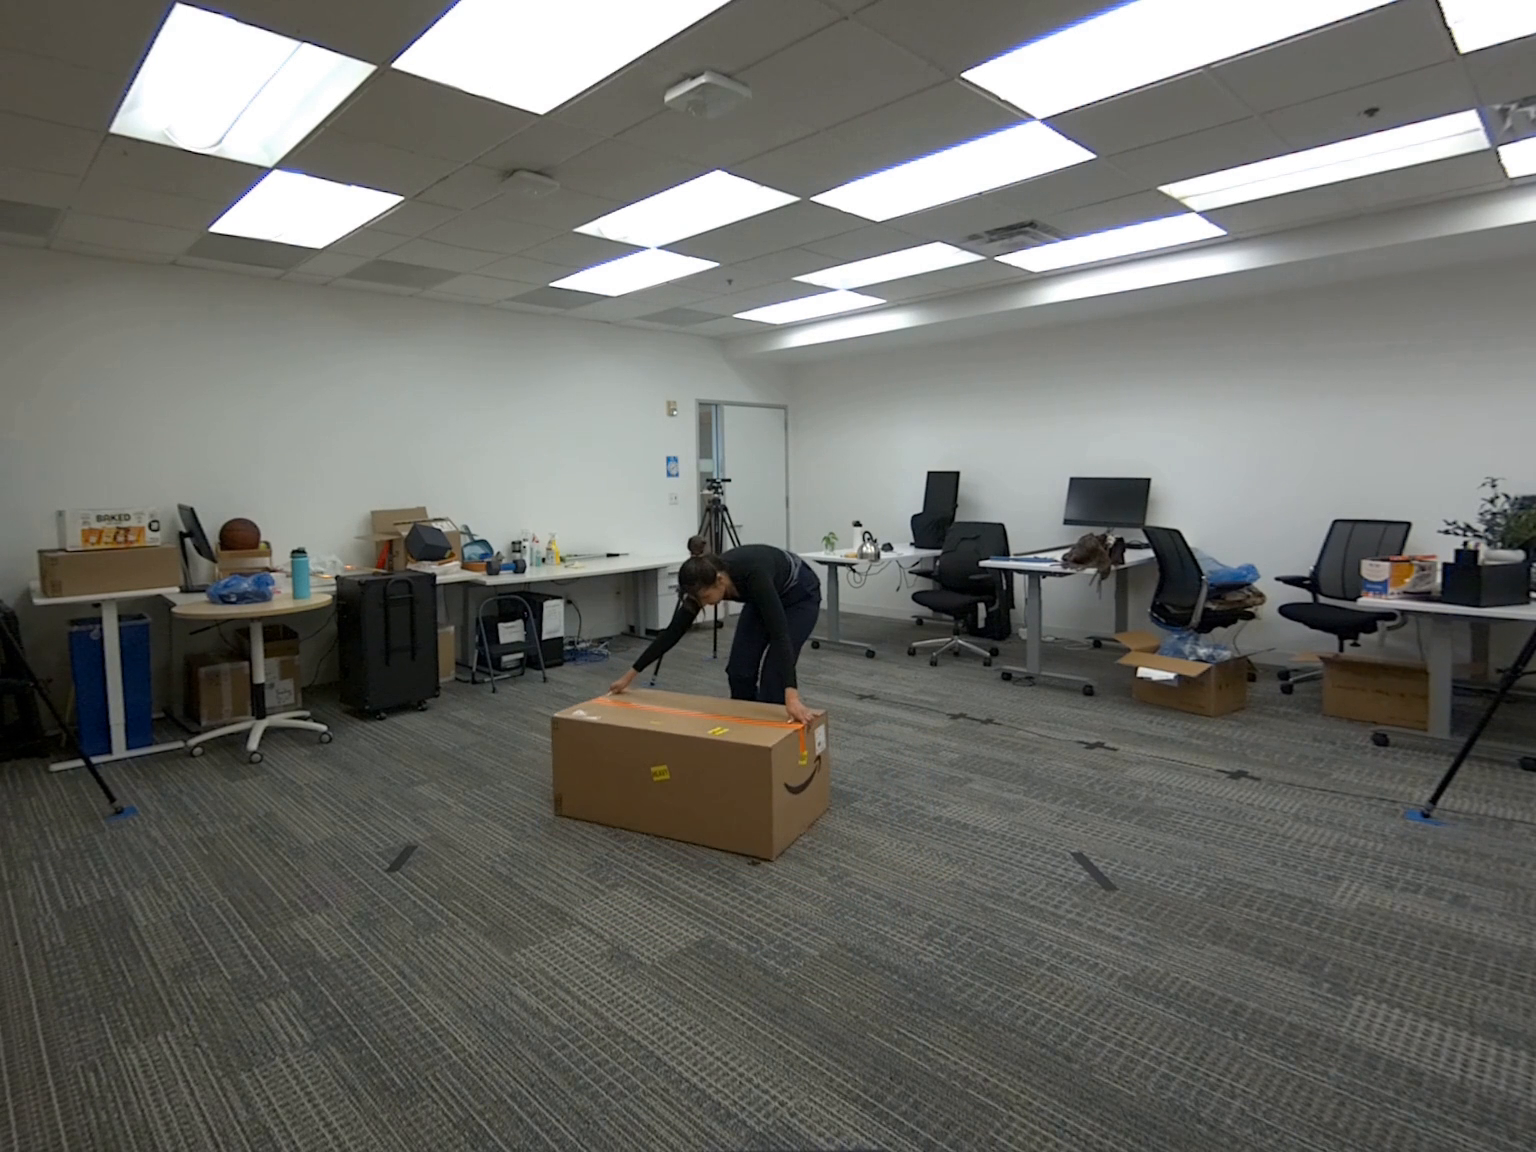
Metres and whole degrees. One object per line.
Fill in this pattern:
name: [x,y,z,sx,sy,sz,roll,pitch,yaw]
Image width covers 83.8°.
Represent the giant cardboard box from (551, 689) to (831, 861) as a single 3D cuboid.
giant cardboard box: [-0.323,0.780,3.587,1.051,0.424,0.566,2,6,27]
